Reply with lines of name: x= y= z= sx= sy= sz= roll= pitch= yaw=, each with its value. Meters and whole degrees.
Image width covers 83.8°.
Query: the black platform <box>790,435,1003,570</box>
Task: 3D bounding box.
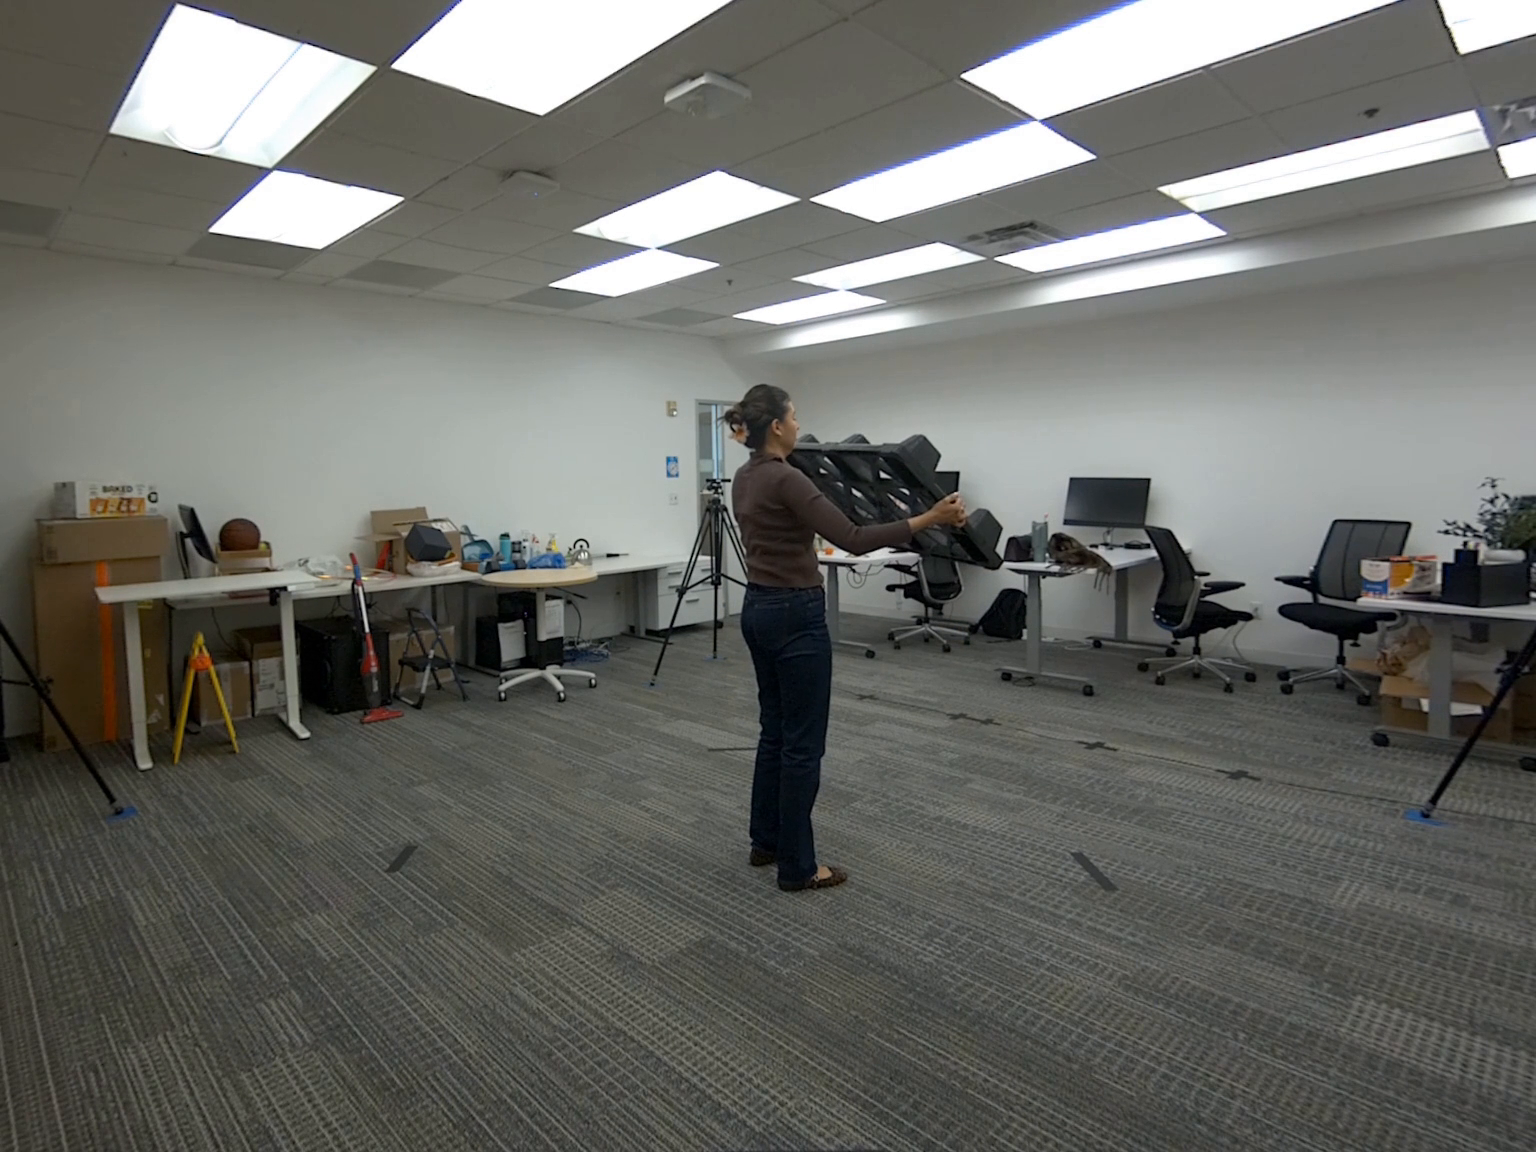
black platform: x=0.433 y=-0.303 z=3.111 sx=0.588 sy=0.143 sz=0.828 roll=44 pitch=-12 yaw=-25
